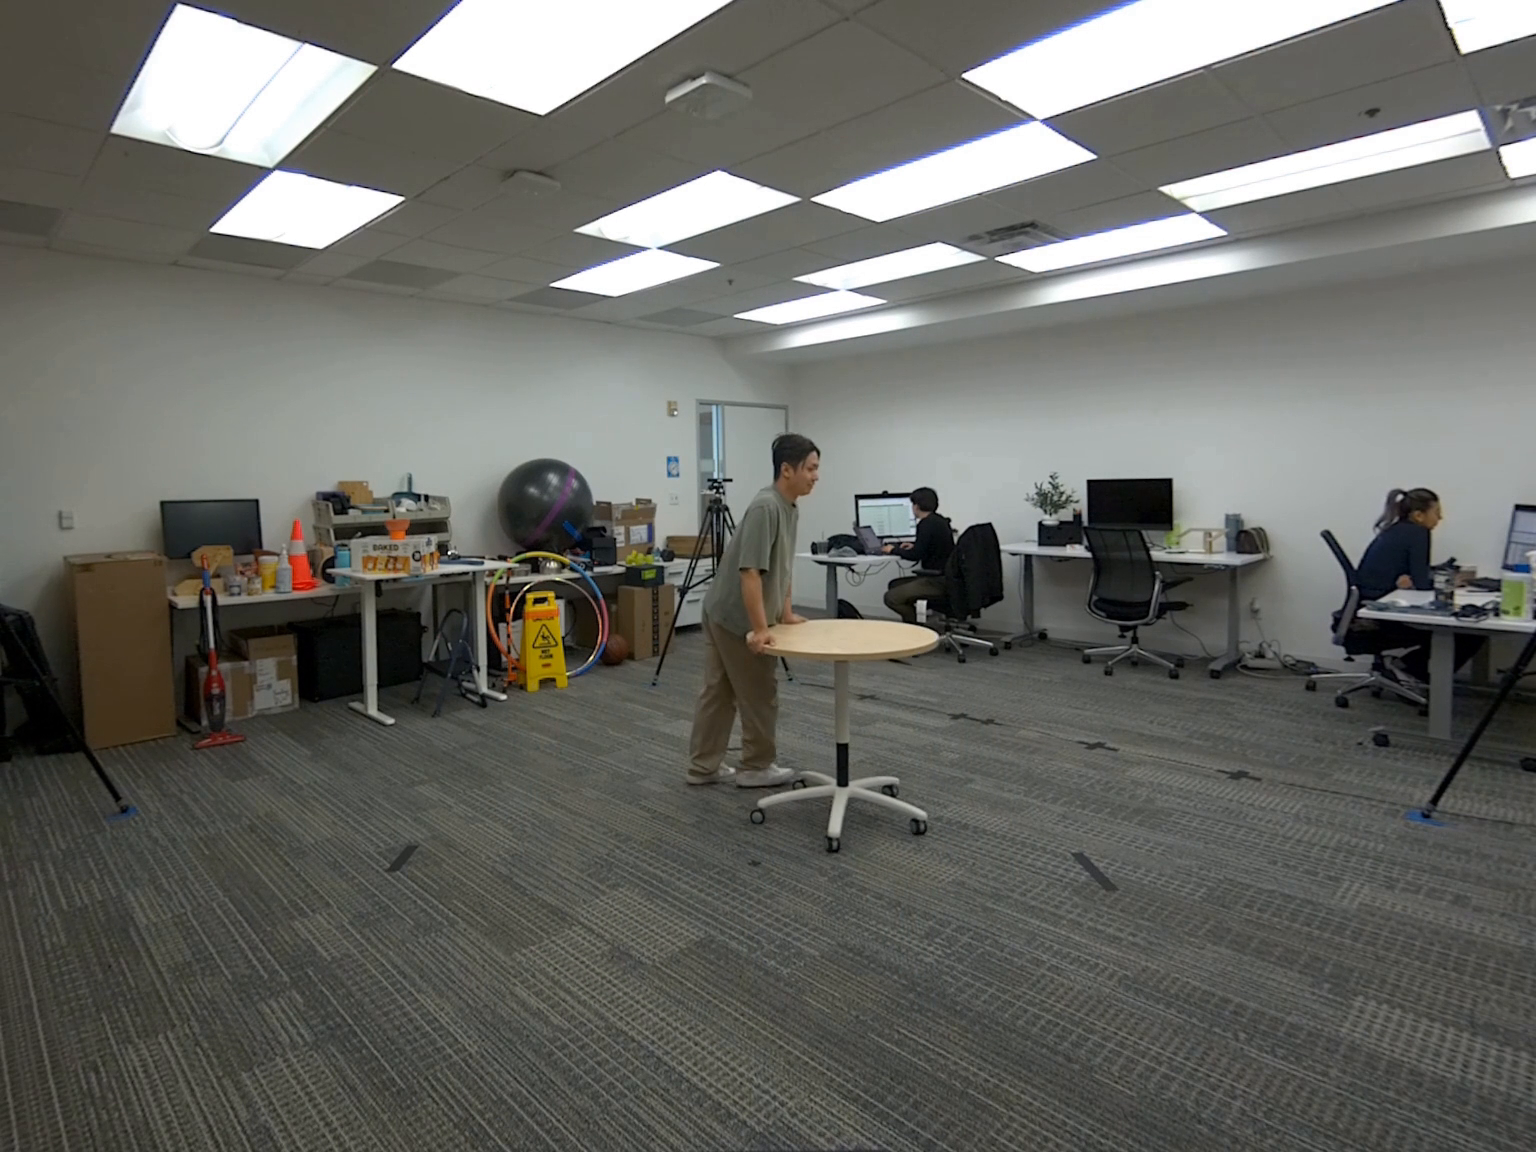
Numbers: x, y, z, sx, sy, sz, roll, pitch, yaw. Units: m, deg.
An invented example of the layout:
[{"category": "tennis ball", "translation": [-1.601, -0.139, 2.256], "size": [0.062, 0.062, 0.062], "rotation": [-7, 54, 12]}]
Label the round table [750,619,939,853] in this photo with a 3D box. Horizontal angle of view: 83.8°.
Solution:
[{"category": "round table", "translation": [0.292, 0.618, 3.462], "size": [0.784, 0.783, 0.789], "rotation": [-1, 5, -2]}]
